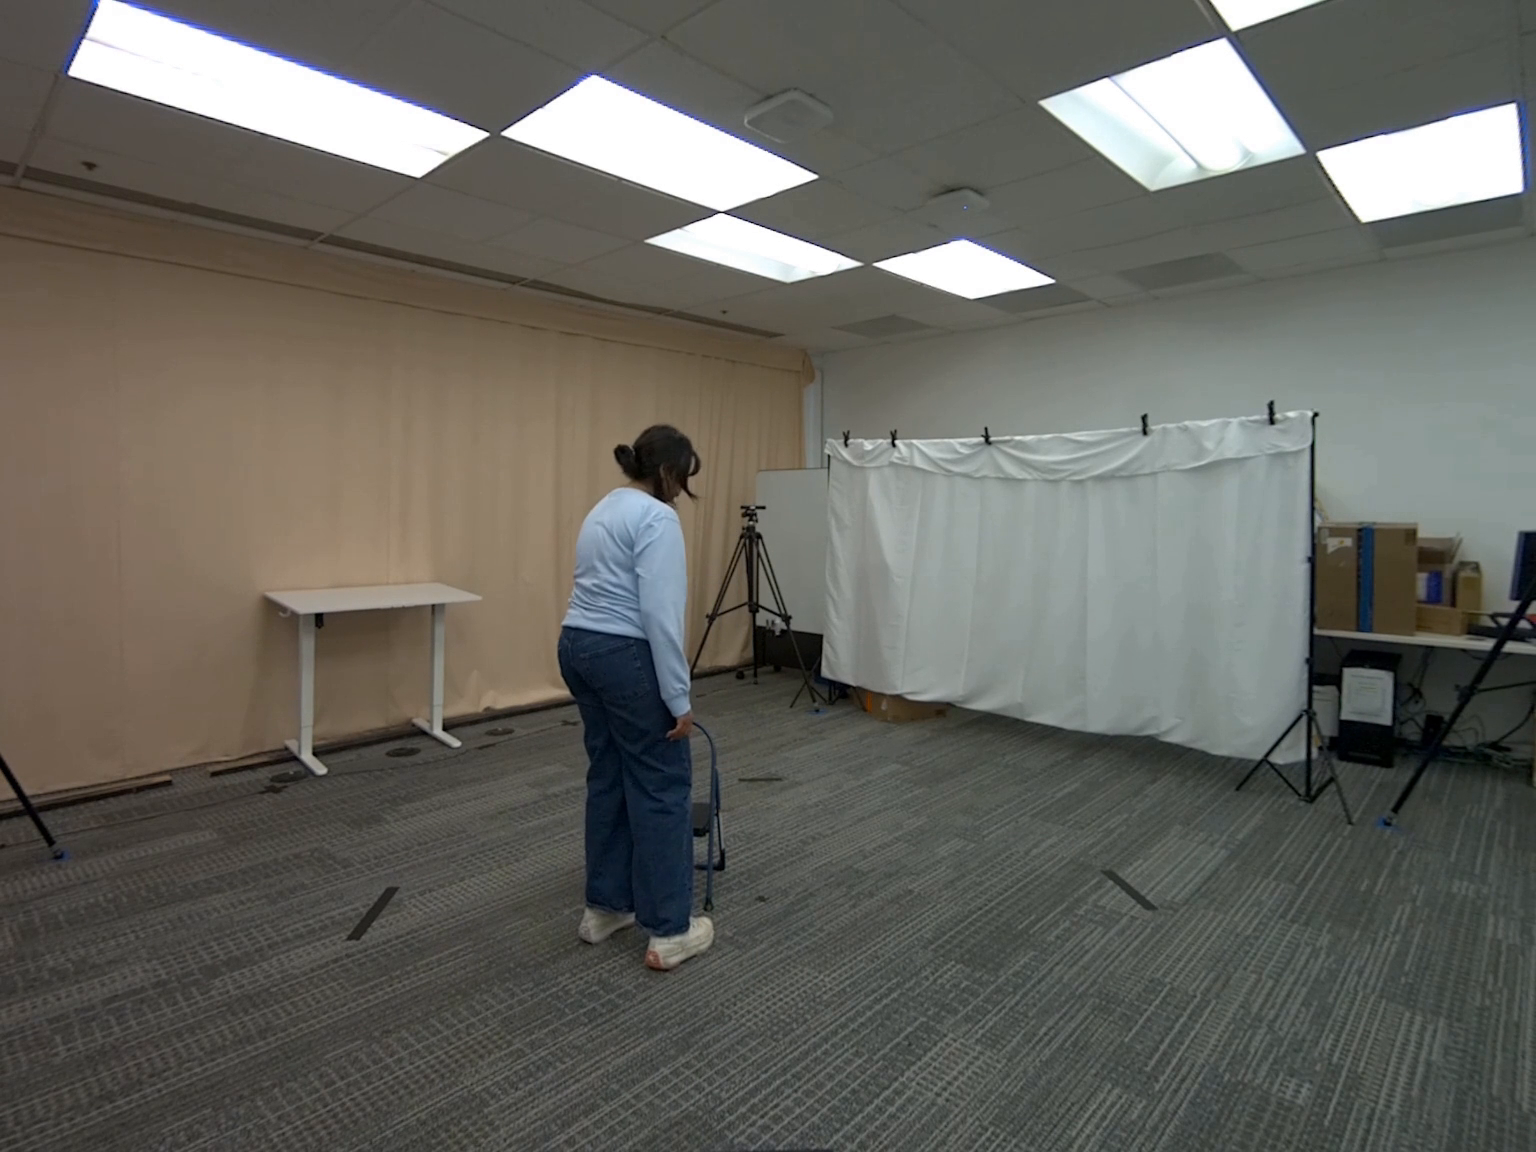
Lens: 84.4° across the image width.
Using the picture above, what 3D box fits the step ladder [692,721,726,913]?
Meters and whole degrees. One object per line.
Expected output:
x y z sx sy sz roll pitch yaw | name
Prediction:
-0.390 0.839 3.085 0.435 0.604 0.347 0 5 9 | step ladder
